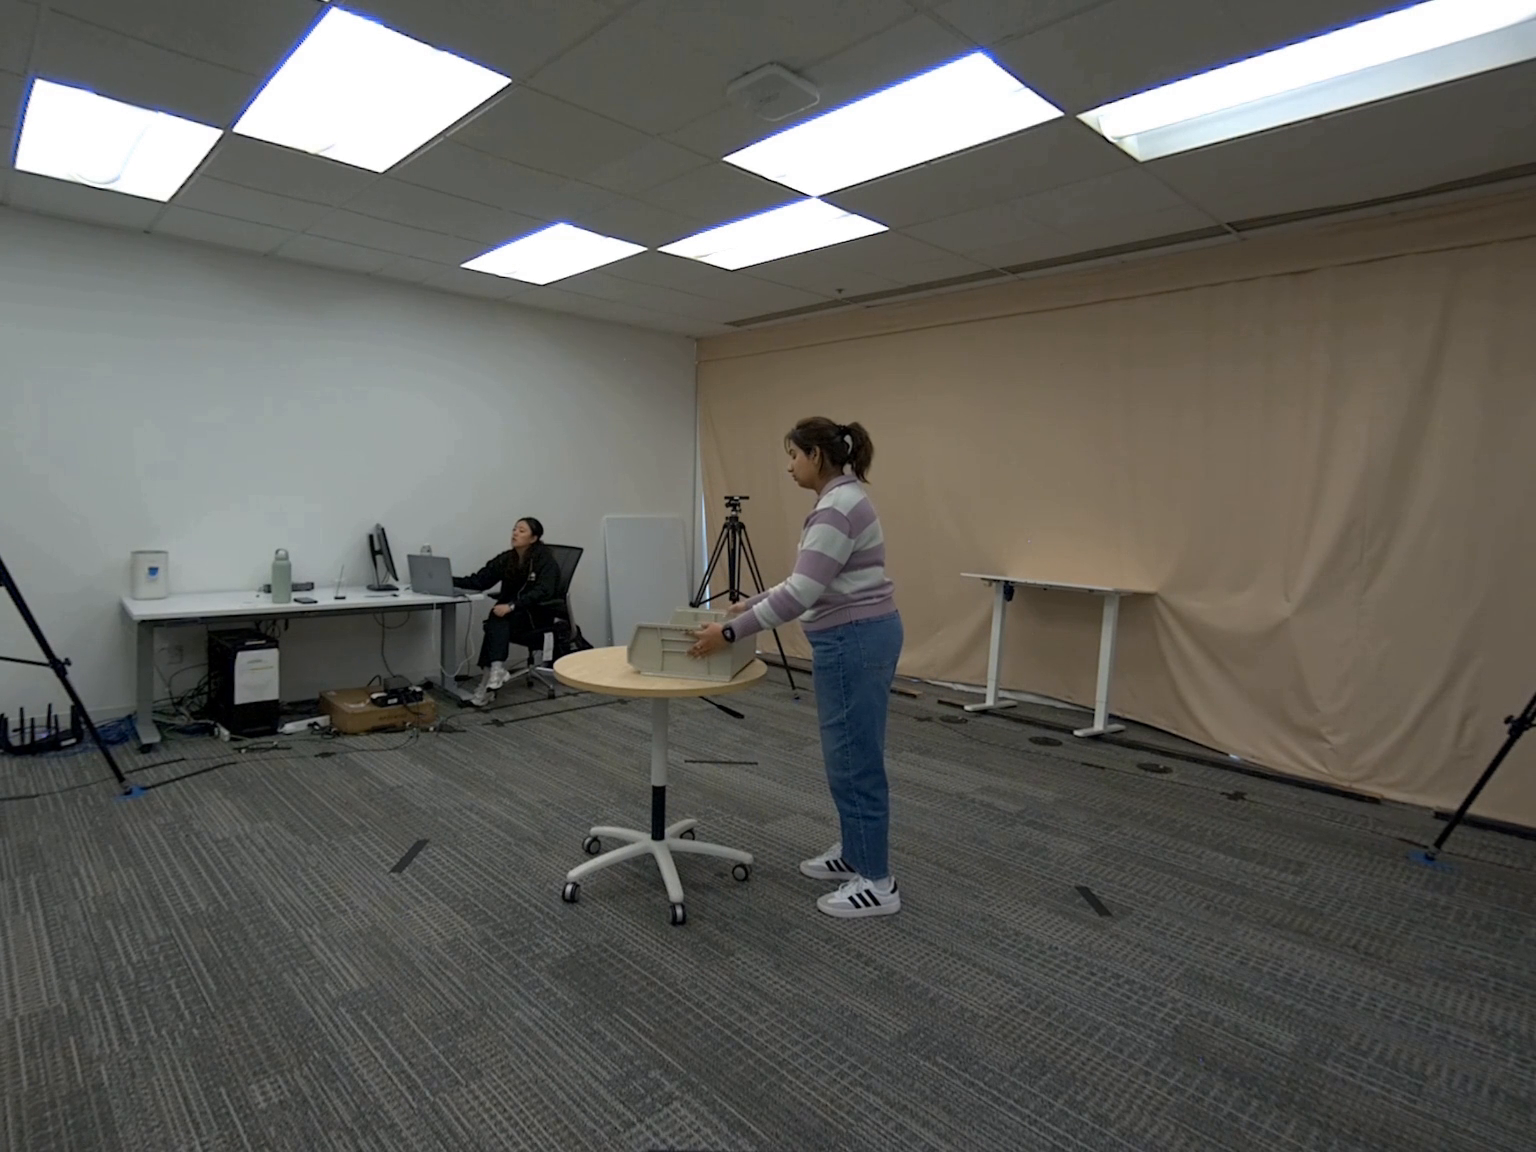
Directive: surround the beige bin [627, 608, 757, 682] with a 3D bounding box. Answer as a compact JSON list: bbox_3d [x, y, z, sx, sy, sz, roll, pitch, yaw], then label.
[{"bbox_3d":[-0.259,0.236,3.018,0.381,0.188,0.419,3,6,12],"label":"beige bin"}]
